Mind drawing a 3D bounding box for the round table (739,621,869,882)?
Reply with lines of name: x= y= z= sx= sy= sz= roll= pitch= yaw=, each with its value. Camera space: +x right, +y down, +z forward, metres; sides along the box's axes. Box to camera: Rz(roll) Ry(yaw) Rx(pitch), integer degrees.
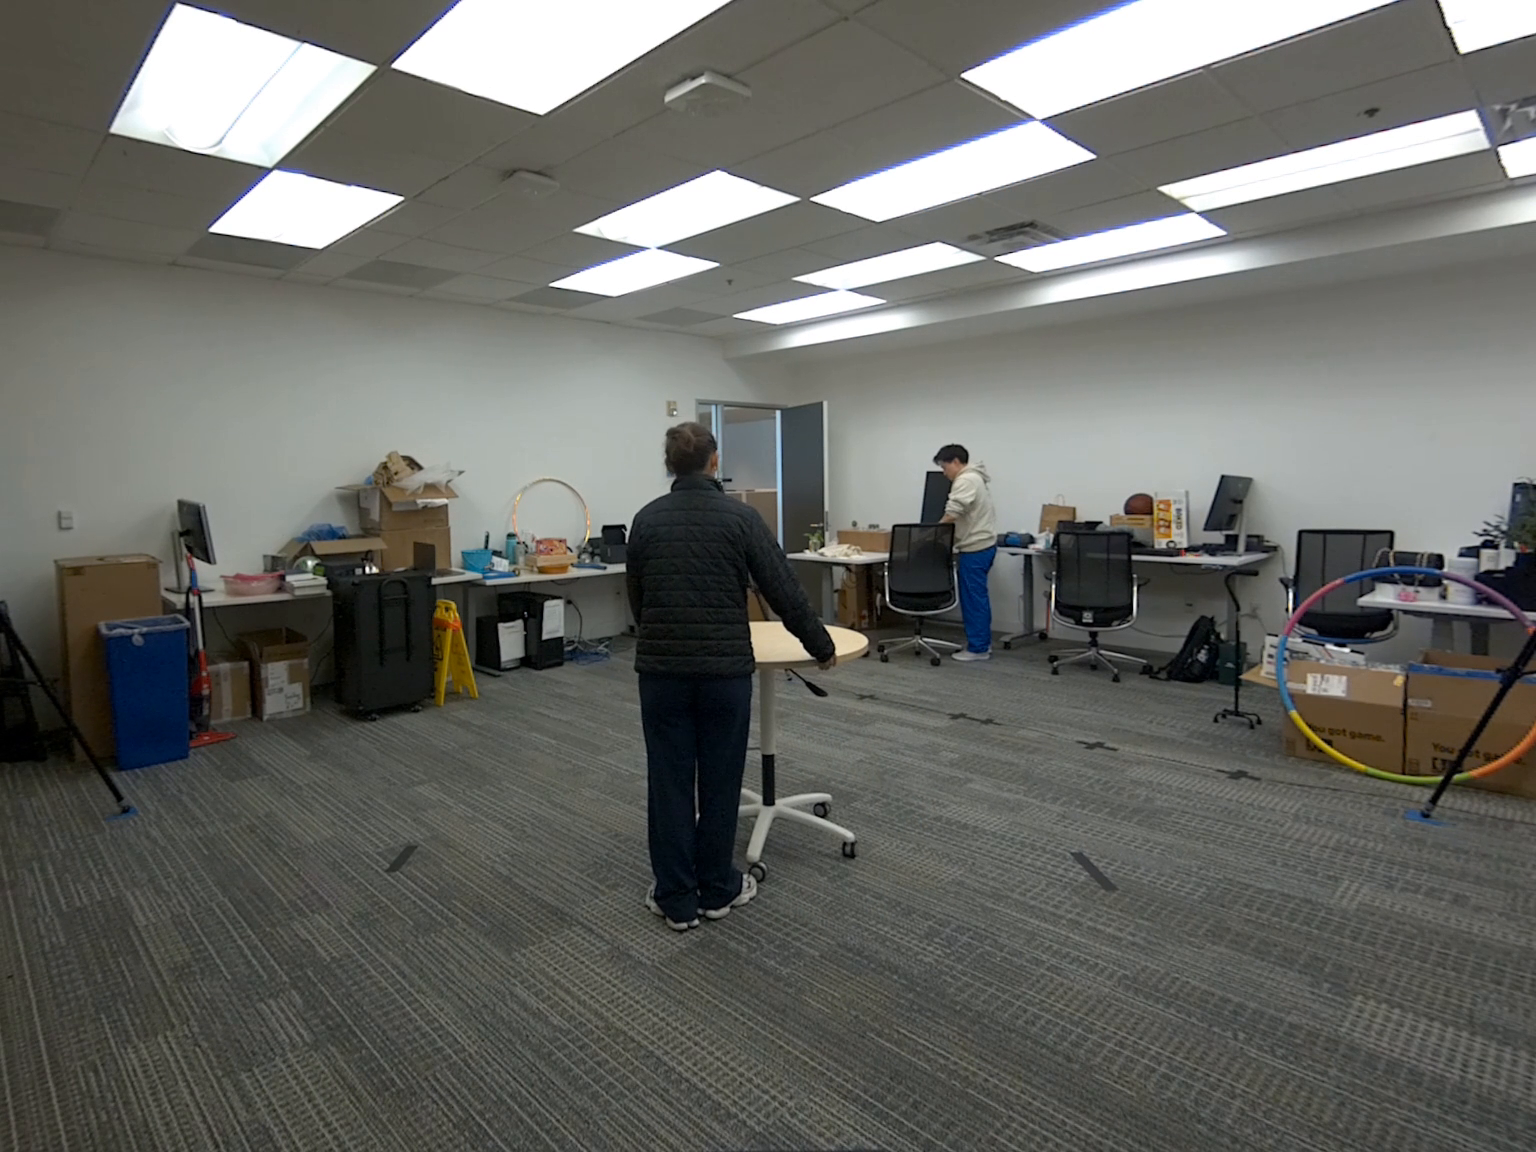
round table: x=-0.004 y=0.630 z=3.283 sx=0.784 sy=0.783 sz=0.789 roll=-1 pitch=5 yaw=-2
